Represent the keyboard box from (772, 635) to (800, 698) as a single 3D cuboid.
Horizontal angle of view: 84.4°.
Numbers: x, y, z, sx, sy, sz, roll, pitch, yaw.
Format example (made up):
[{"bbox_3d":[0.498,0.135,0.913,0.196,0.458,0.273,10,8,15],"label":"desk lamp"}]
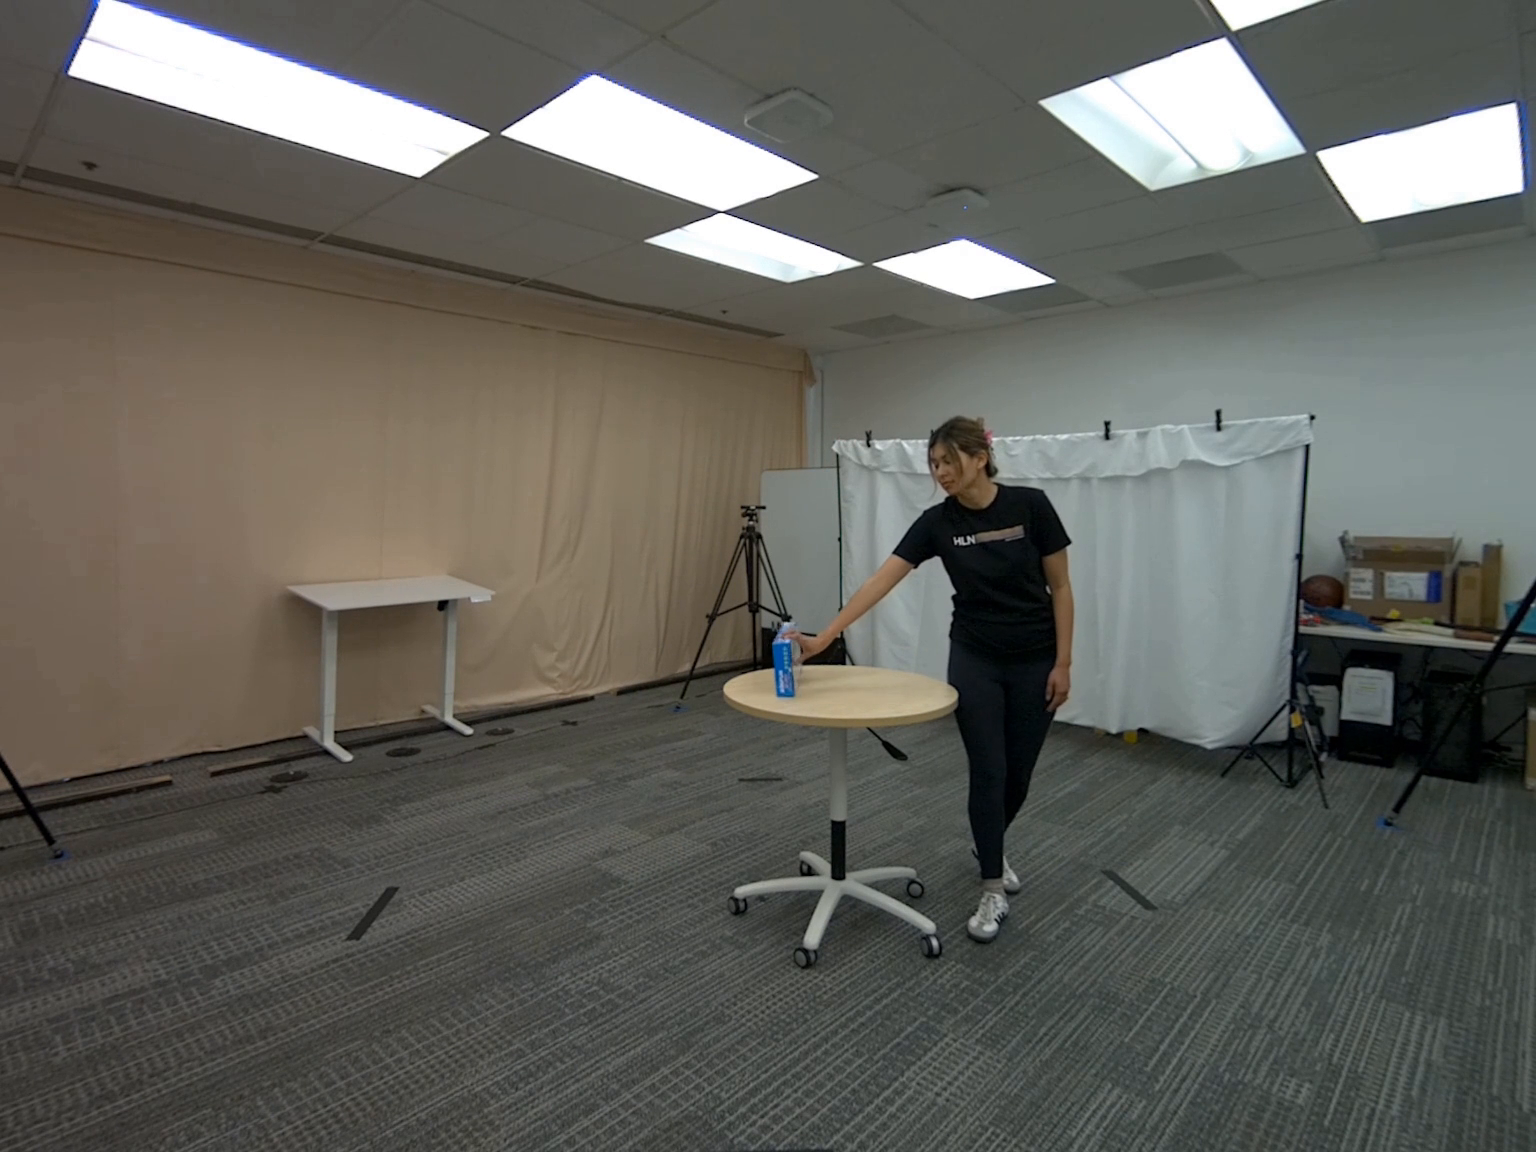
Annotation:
[{"bbox_3d":[0.077,0.278,2.889,0.059,0.175,0.435,-2,5,5],"label":"keyboard box"}]
